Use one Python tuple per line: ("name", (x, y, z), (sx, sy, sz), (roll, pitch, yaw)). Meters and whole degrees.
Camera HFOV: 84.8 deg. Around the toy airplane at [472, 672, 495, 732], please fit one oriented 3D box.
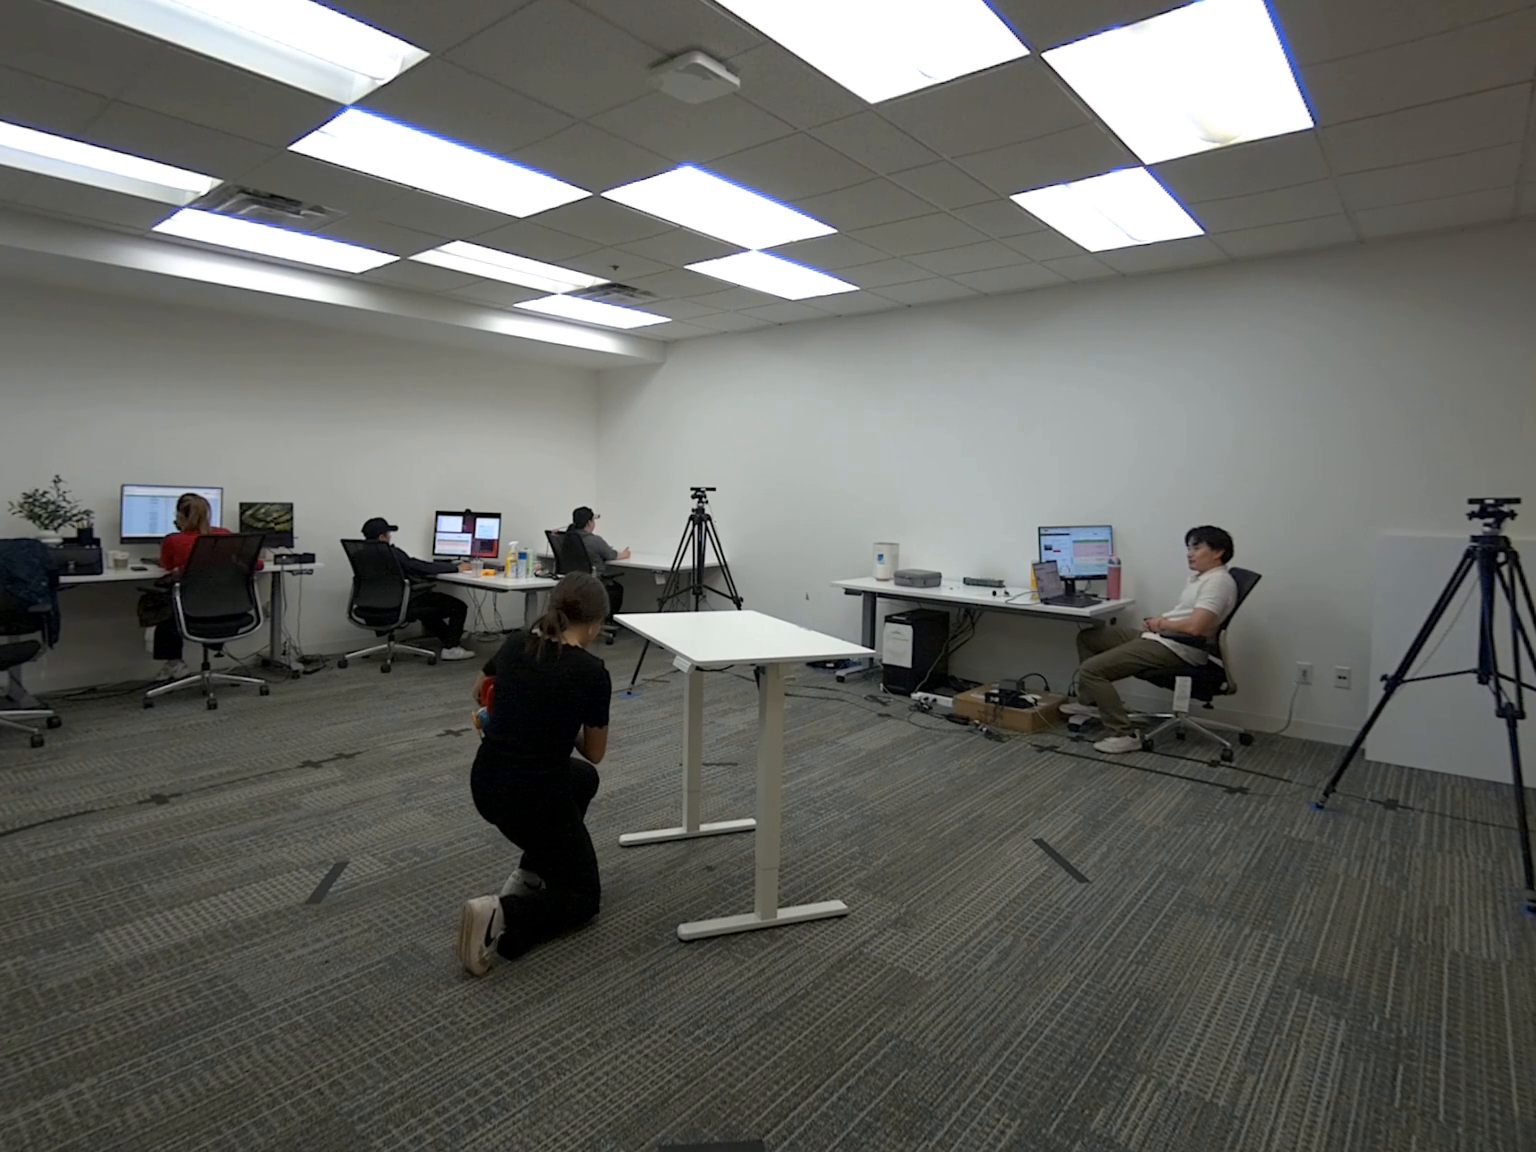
("toy airplane", (-0.857, 0.411, 2.799), (0.259, 0.243, 0.161), (-36, 25, -2))
